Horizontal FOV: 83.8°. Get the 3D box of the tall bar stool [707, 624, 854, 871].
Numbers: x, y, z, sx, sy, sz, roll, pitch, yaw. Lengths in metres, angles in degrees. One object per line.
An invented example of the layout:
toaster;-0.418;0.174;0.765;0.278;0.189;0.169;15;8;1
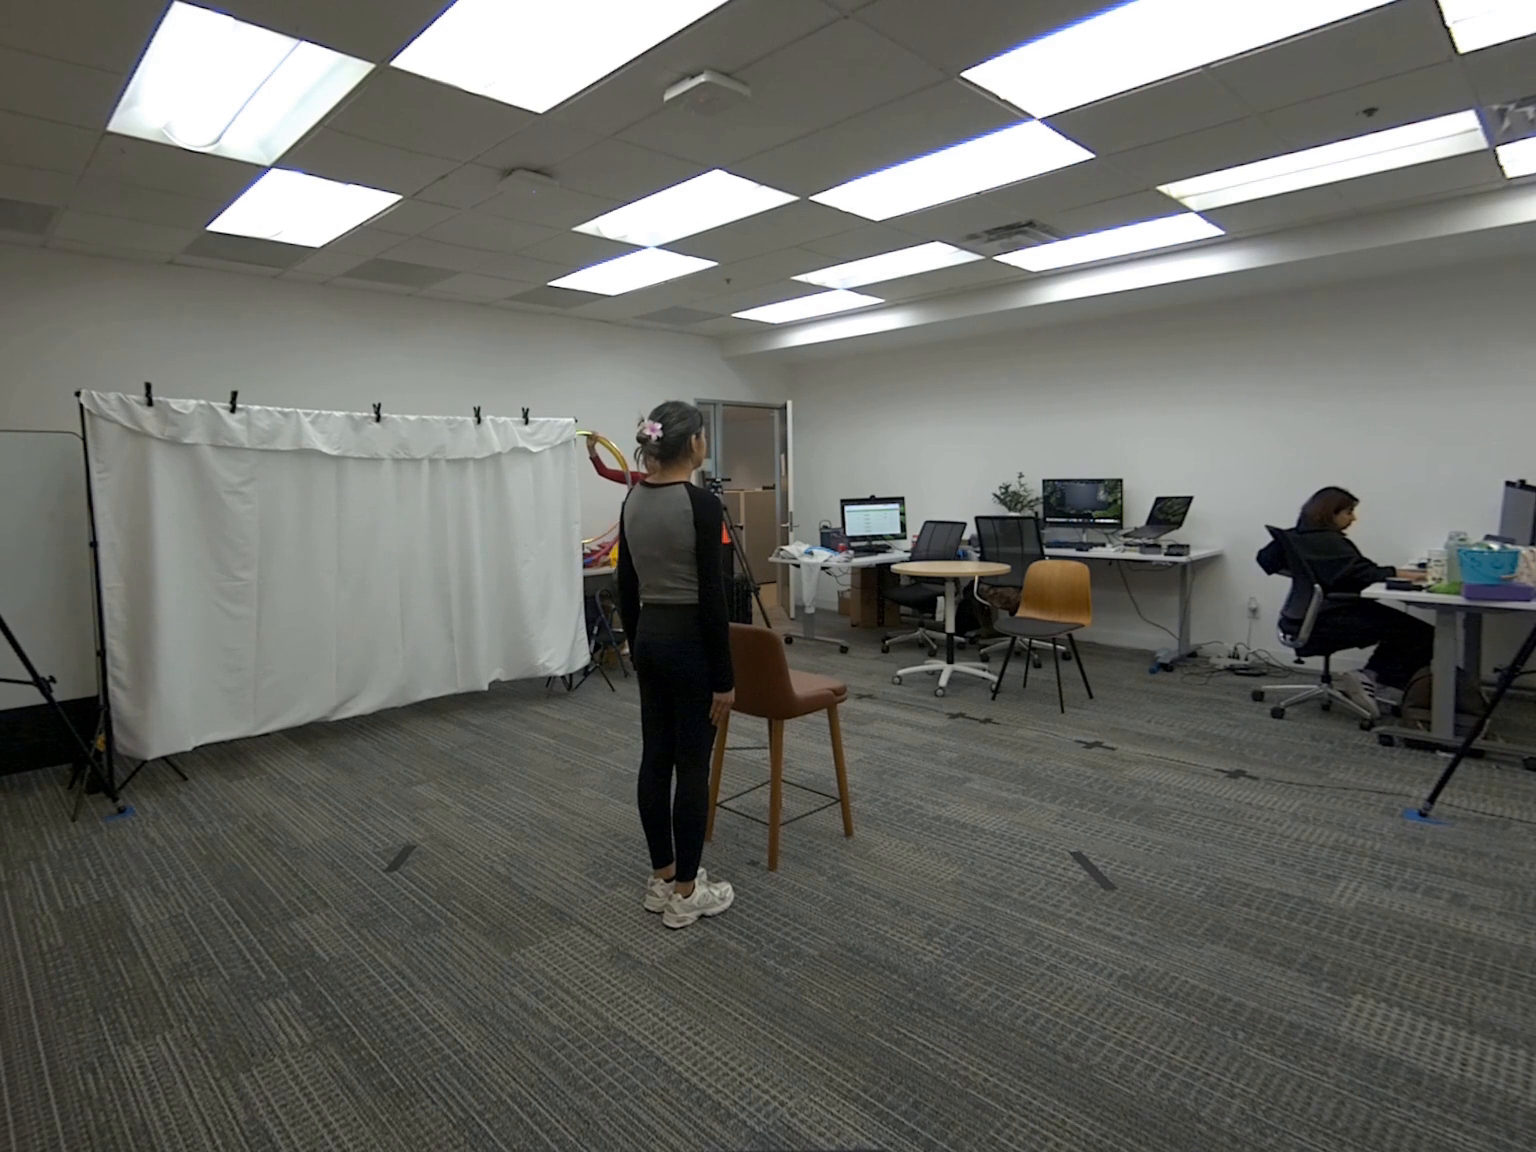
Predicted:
tall bar stool;0.027;0.584;3.291;0.456;0.885;0.471;-7;8;-44
